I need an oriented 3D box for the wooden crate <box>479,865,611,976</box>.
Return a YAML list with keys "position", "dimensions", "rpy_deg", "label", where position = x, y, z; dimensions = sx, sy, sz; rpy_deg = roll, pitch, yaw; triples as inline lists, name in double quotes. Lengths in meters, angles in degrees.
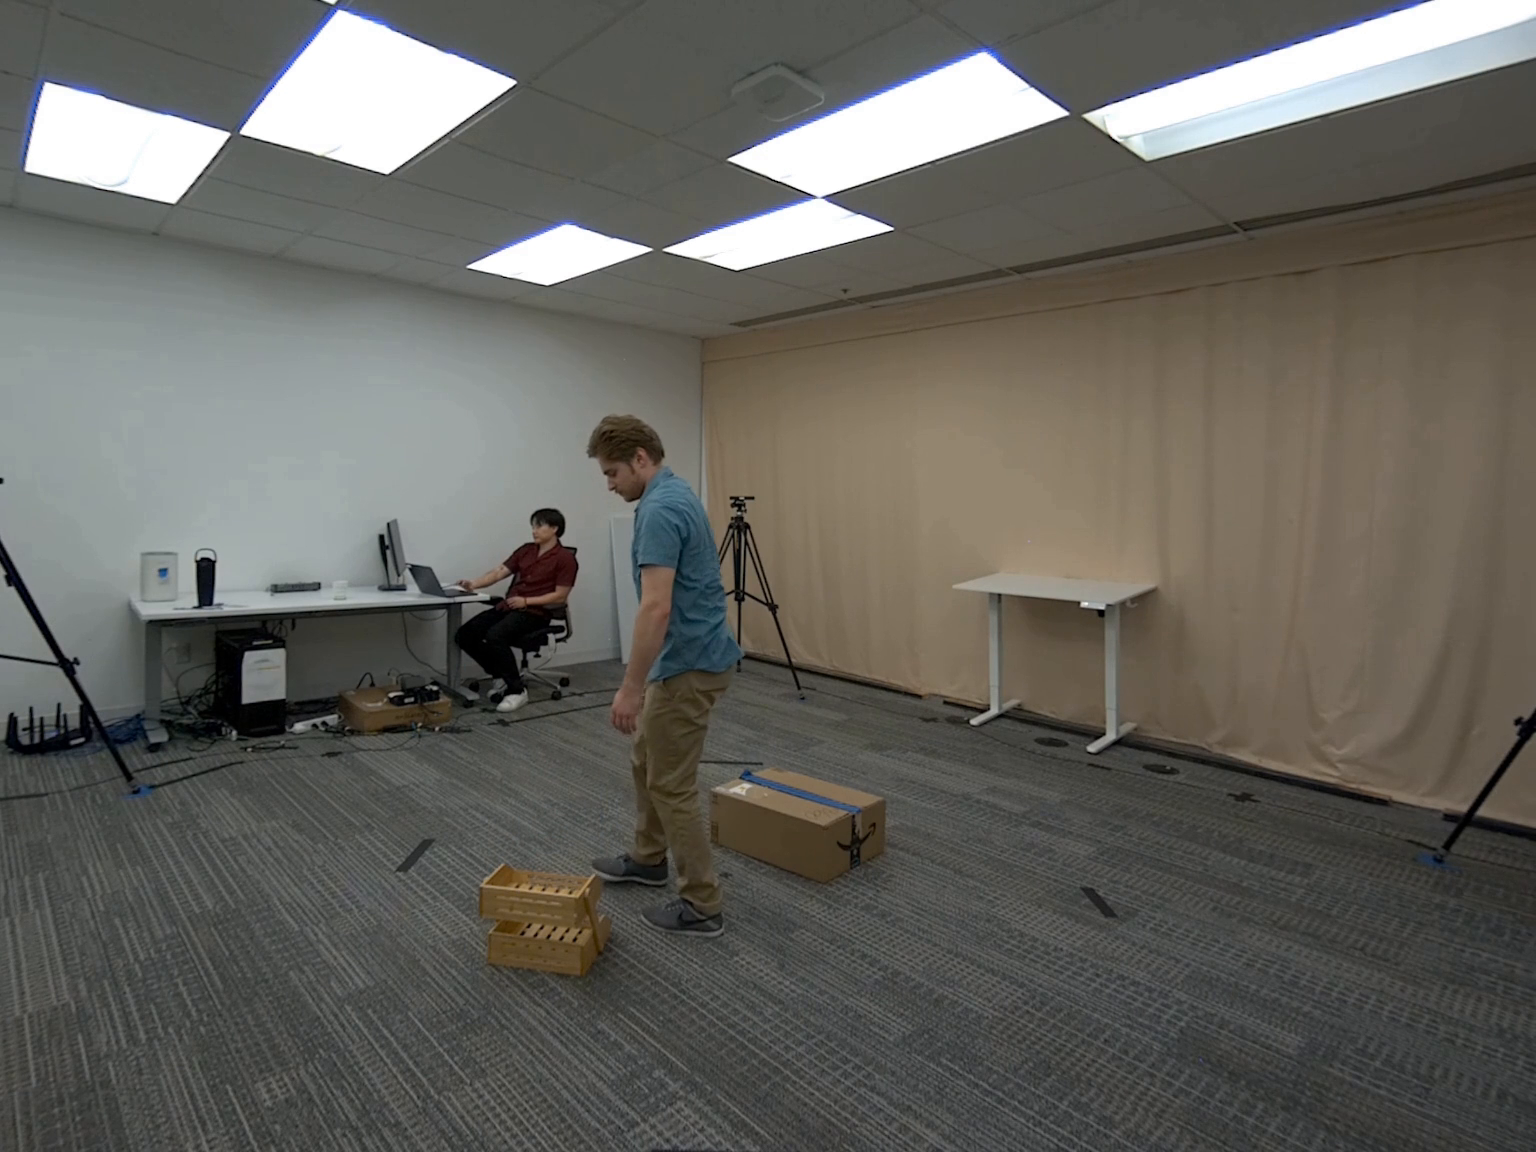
- position: [-0.671, 1.009, 2.550]
  dimensions: [0.327, 0.272, 0.301]
  rpy_deg: [2, 5, 9]
  label: "wooden crate"
